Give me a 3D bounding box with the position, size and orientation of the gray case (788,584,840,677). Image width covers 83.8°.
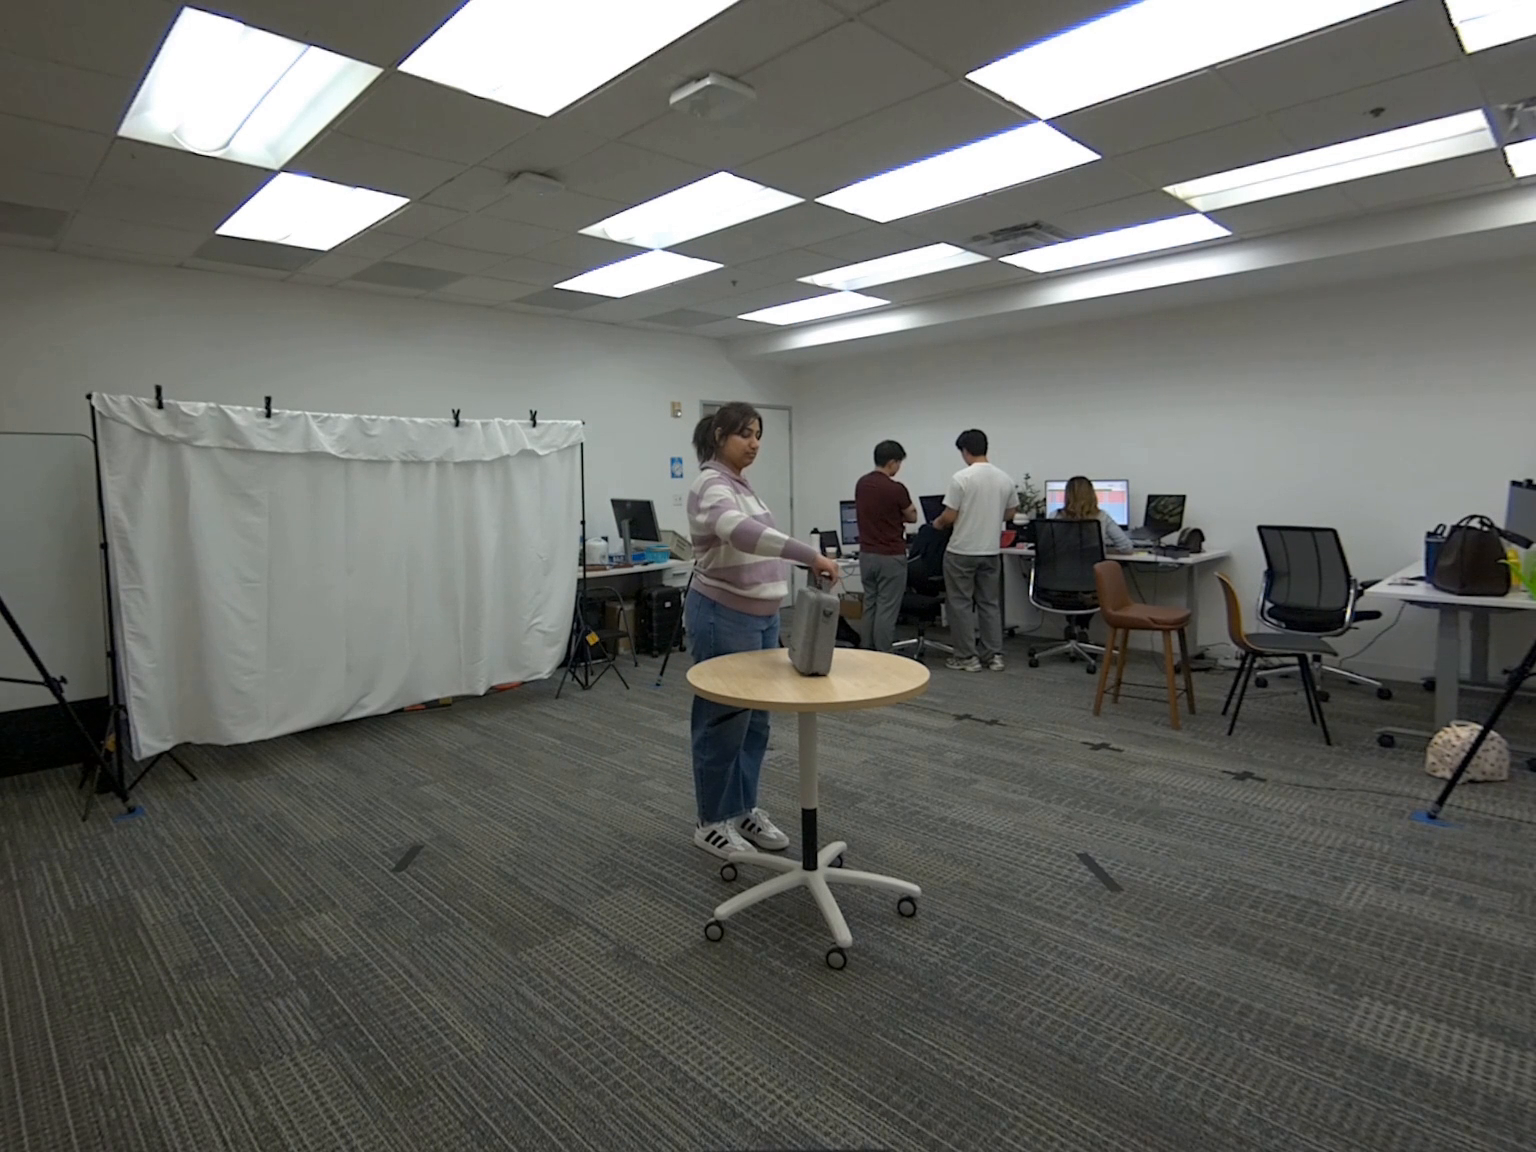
[{"bbox_3d":[0.149,0.169,2.743,0.104,0.259,0.259,5,7,-5],"label":"gray case"}]
